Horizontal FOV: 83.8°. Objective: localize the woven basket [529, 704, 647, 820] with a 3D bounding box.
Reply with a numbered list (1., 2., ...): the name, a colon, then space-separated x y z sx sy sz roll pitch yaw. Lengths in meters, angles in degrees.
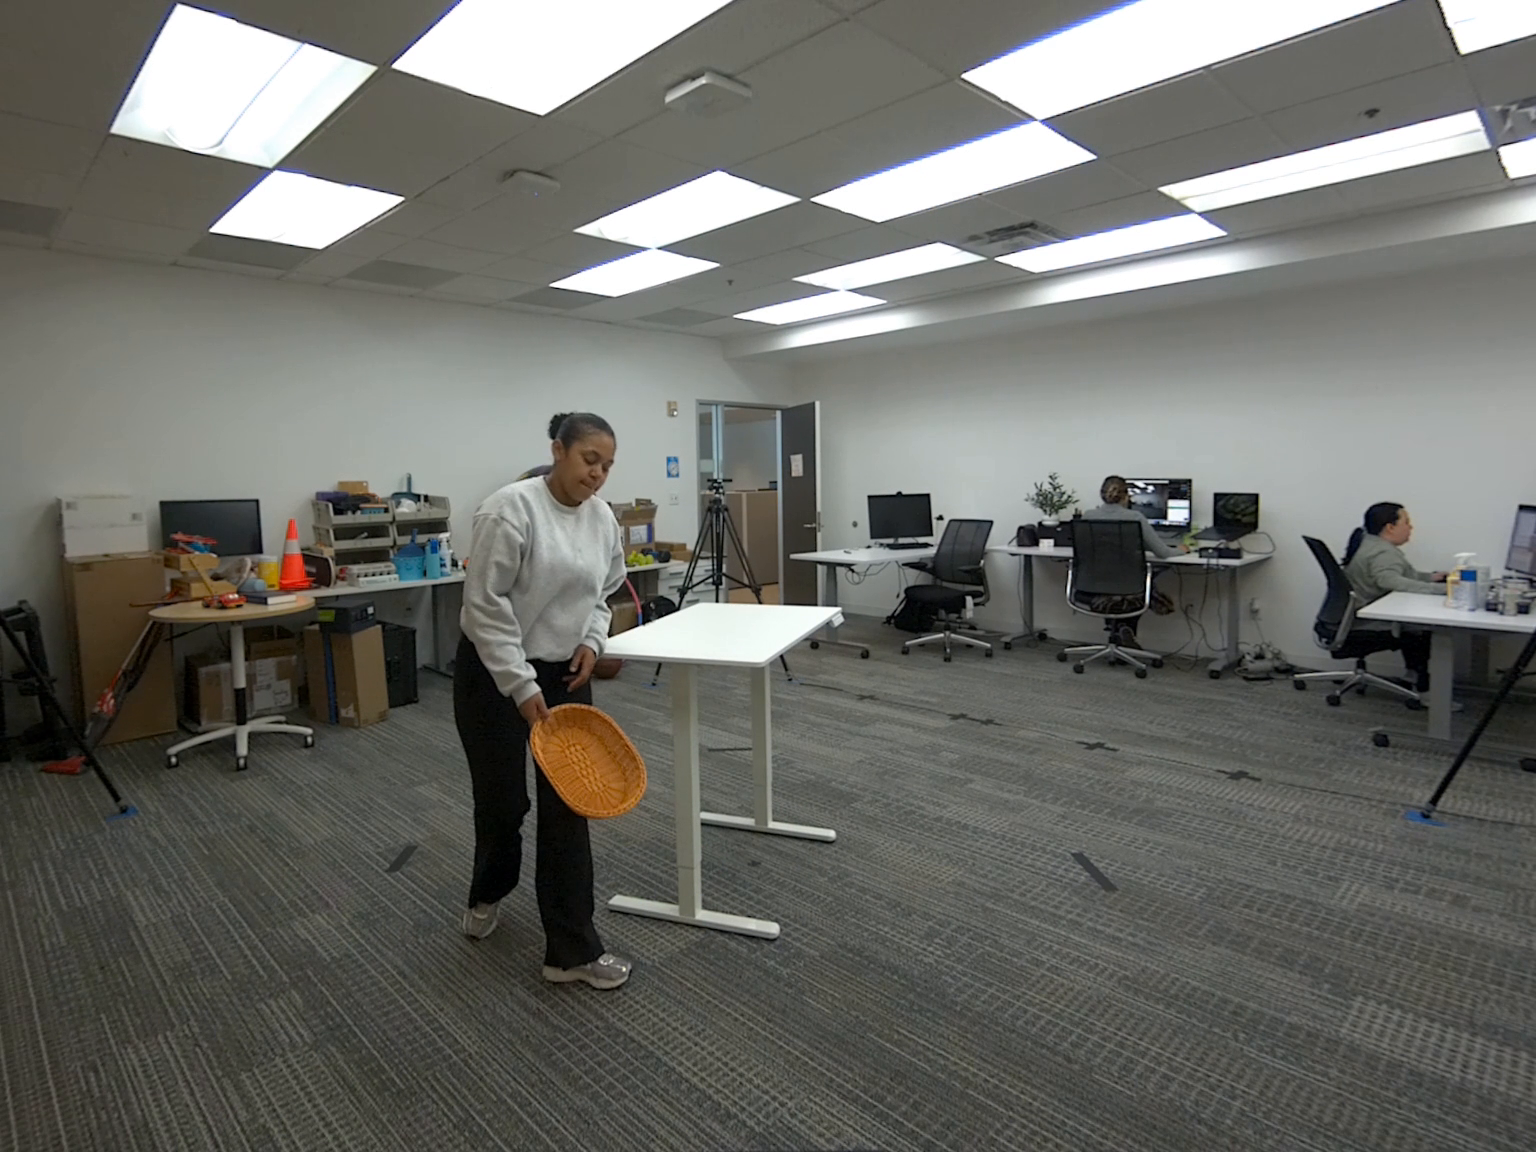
1. woven basket: -0.469 0.489 2.212 0.246 0.072 0.363 -8 47 -40
